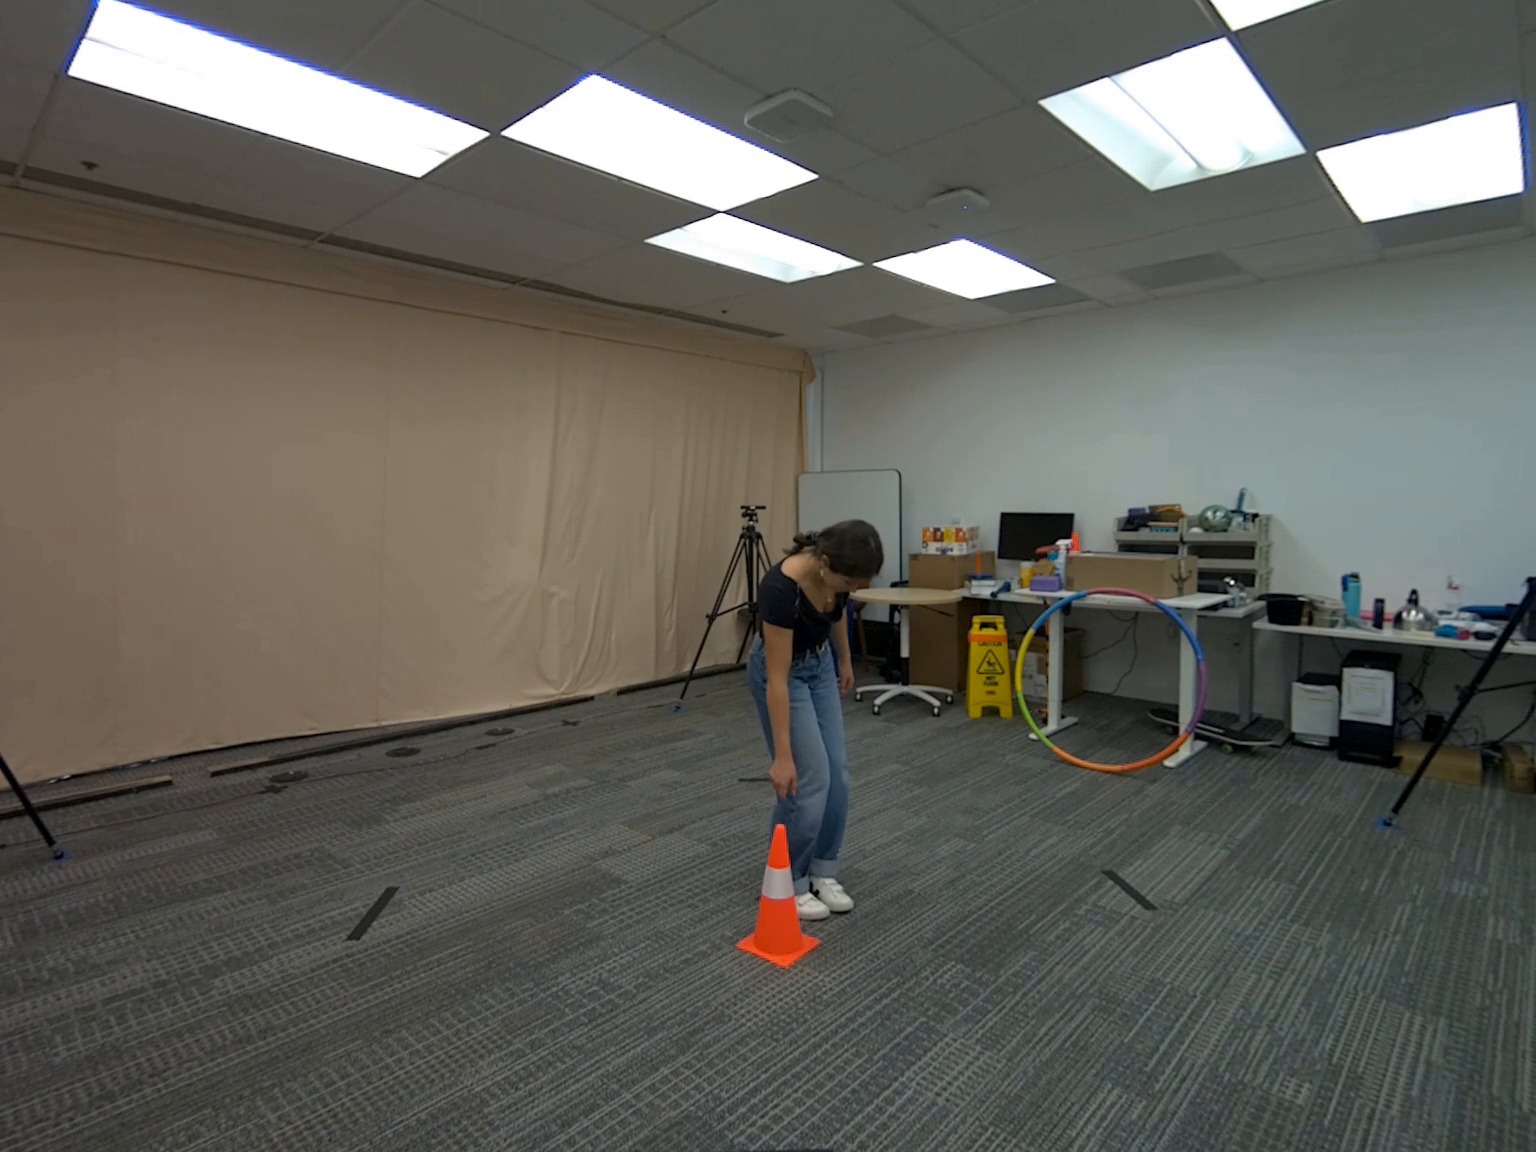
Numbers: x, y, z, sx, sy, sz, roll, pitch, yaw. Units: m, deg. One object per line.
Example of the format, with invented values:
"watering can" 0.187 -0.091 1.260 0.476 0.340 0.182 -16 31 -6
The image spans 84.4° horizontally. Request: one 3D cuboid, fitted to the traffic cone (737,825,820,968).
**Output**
"traffic cone" 0.037 0.987 2.666 0.210 0.383 0.199 1 3 37
